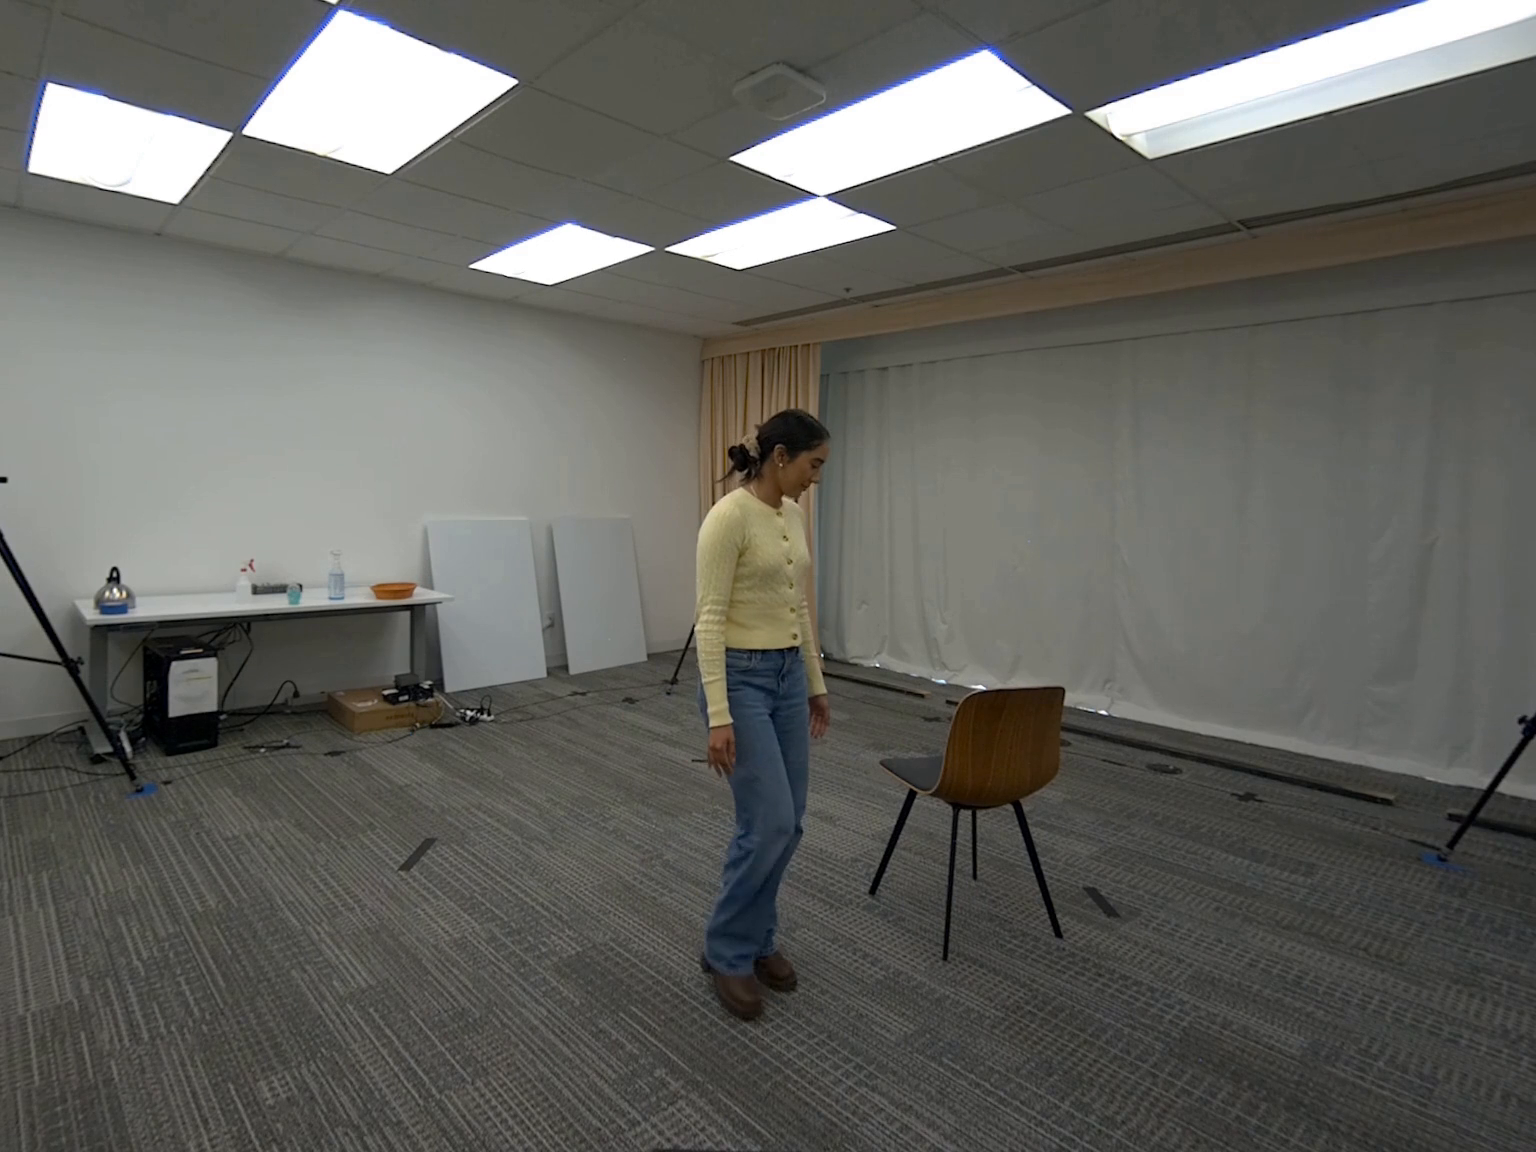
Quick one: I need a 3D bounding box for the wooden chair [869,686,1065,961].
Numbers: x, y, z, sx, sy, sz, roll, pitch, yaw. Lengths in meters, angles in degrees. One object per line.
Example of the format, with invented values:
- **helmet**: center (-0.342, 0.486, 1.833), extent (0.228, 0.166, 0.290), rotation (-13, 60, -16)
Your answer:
- **wooden chair**: center (0.650, 0.719, 2.817), extent (0.470, 0.872, 0.535), rotation (0, 9, -22)
